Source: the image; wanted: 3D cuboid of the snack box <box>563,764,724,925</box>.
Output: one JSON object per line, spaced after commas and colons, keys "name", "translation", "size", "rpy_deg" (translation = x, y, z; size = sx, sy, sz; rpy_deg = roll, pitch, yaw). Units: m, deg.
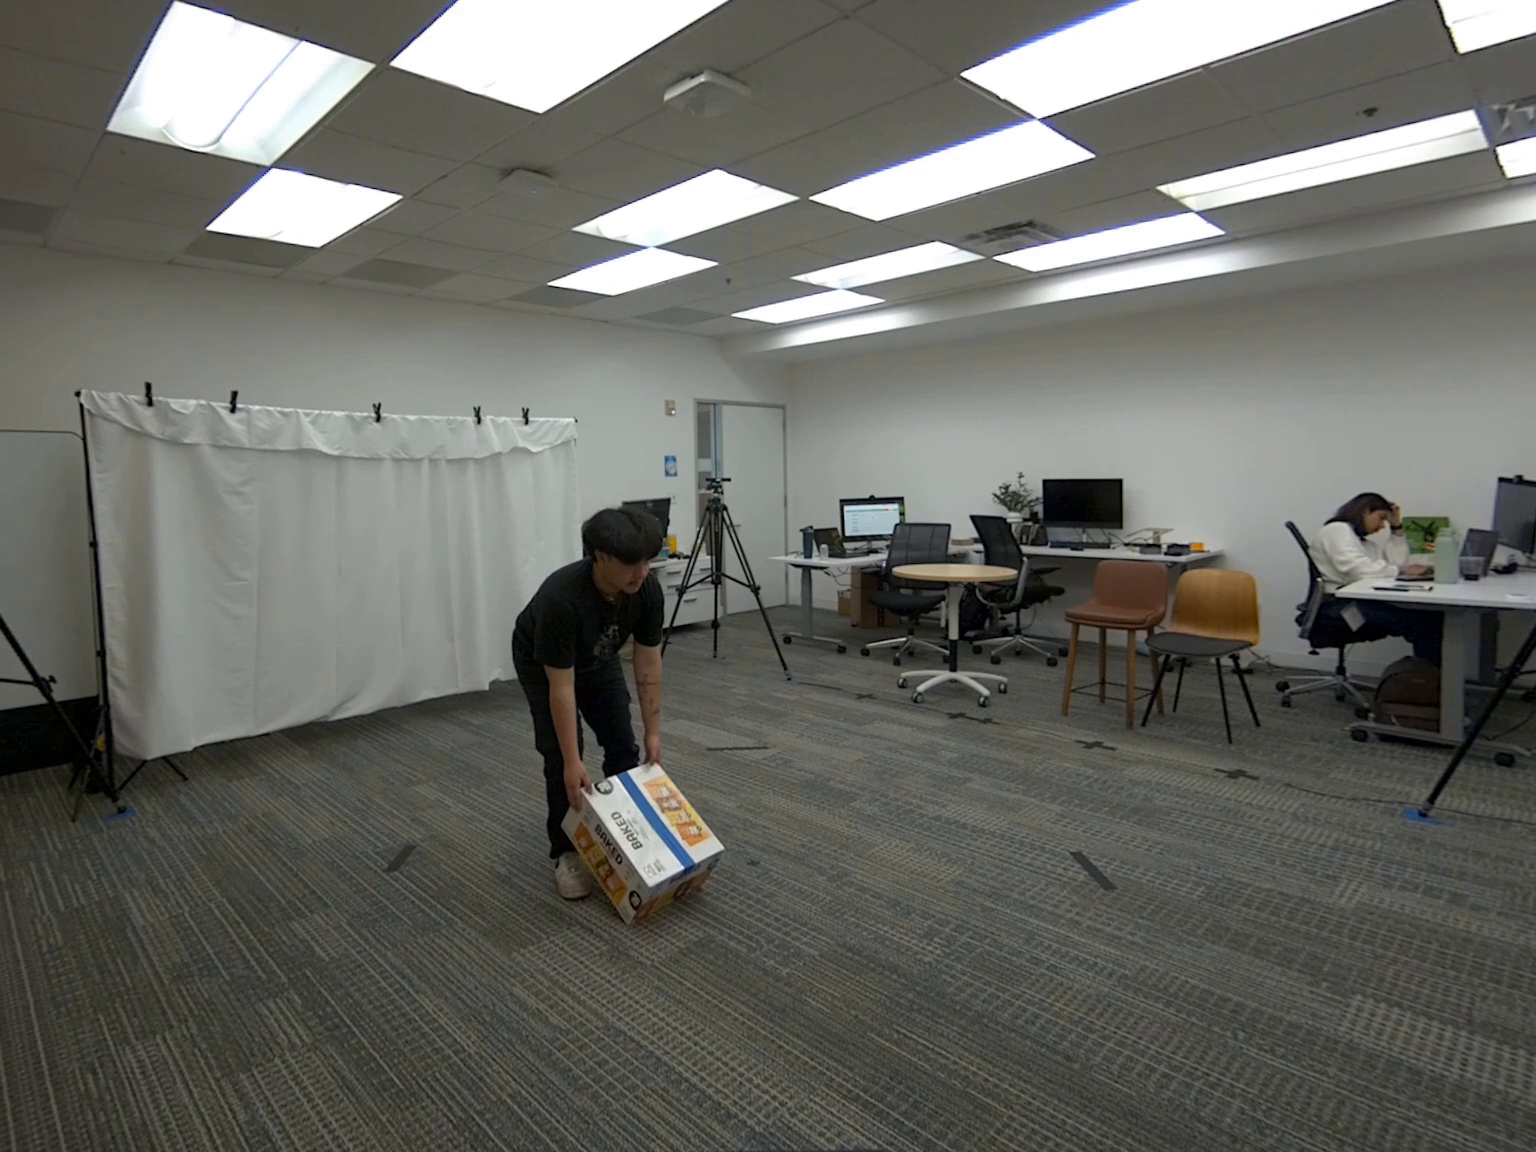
{"name": "snack box", "translation": [-0.419, 0.879, 2.858], "size": [0.332, 0.204, 0.419], "rpy_deg": [-8, 43, -48]}
